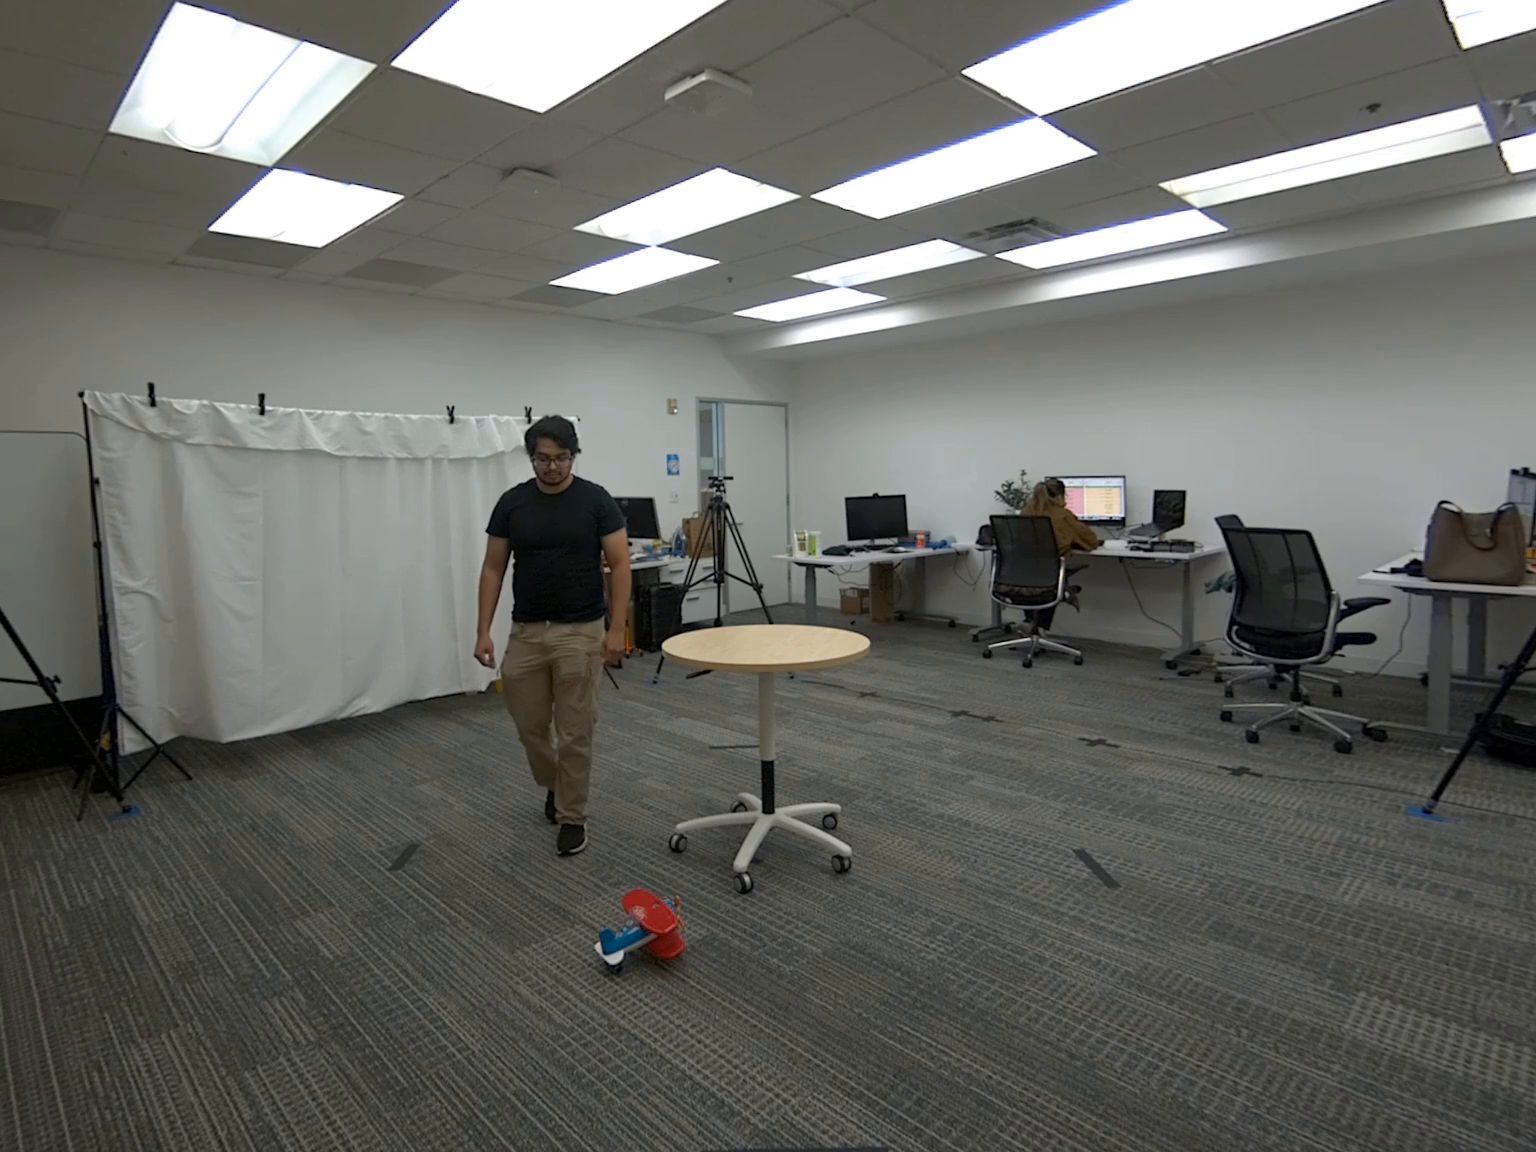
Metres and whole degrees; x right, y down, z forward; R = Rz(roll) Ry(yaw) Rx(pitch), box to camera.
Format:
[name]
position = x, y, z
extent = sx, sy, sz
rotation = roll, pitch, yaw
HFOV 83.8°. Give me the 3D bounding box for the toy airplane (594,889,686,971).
[toy airplane]
position = -0.350, 1.045, 2.471
extent = 0.257, 0.156, 0.254
rotation = 3, 6, 26
